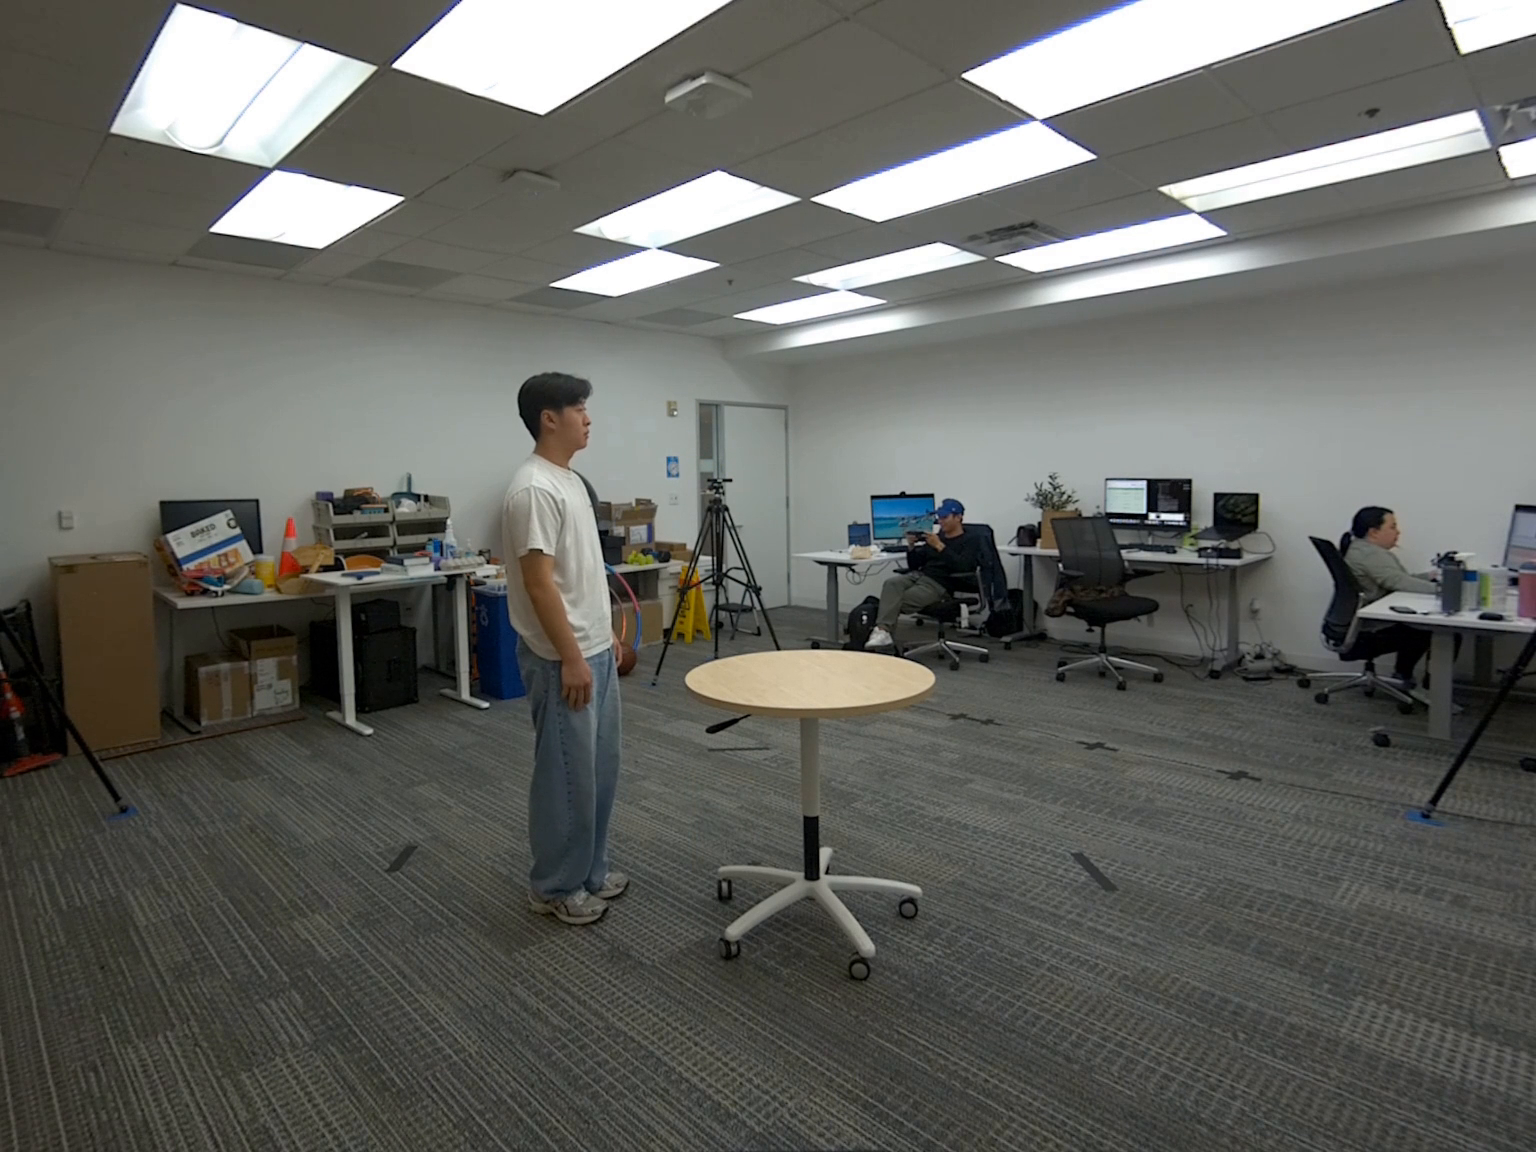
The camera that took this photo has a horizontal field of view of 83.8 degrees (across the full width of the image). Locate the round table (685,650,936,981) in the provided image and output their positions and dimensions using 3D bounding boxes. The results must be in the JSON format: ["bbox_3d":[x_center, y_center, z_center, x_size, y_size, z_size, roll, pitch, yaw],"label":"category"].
[{"bbox_3d":[0.141,0.691,2.687,0.784,0.783,0.789,-2,5,-2],"label":"round table"}]
